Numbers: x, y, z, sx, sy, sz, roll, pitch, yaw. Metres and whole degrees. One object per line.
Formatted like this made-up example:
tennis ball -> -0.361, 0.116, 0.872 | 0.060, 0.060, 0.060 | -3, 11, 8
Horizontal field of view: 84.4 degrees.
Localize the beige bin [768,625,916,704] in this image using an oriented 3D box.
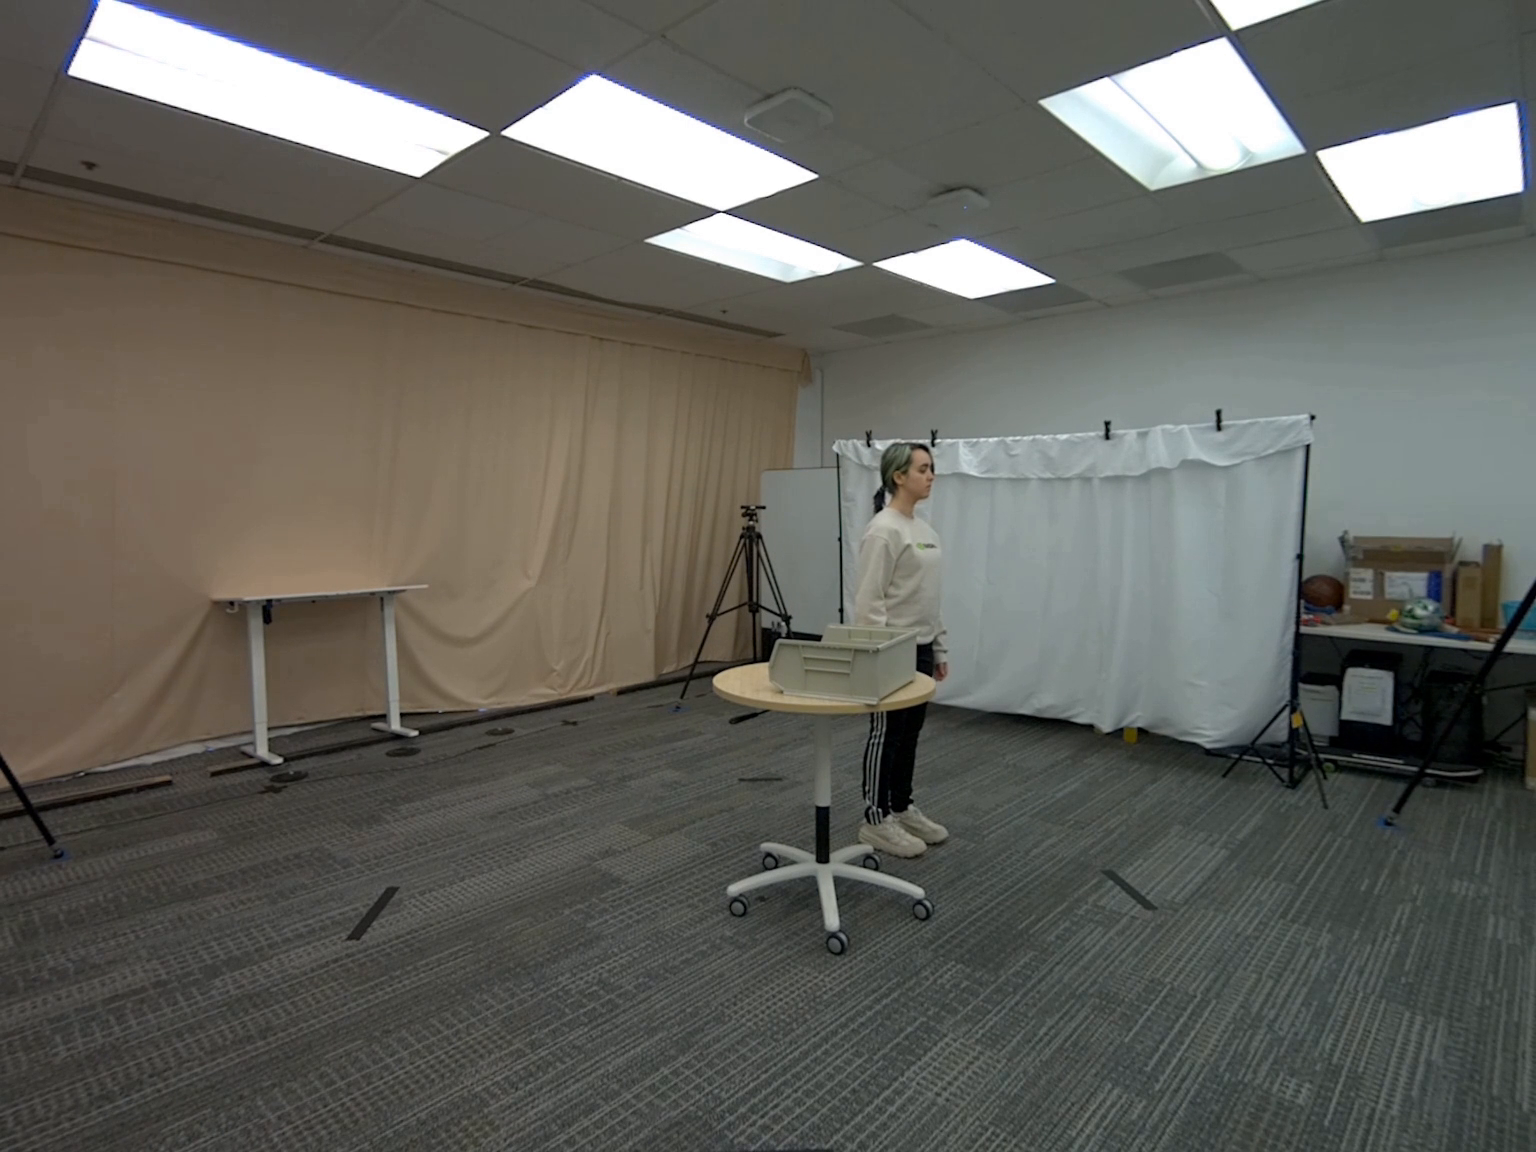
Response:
beige bin -> 0.264, 0.284, 2.802 | 0.388, 0.188, 0.411 | 3, 5, 28
